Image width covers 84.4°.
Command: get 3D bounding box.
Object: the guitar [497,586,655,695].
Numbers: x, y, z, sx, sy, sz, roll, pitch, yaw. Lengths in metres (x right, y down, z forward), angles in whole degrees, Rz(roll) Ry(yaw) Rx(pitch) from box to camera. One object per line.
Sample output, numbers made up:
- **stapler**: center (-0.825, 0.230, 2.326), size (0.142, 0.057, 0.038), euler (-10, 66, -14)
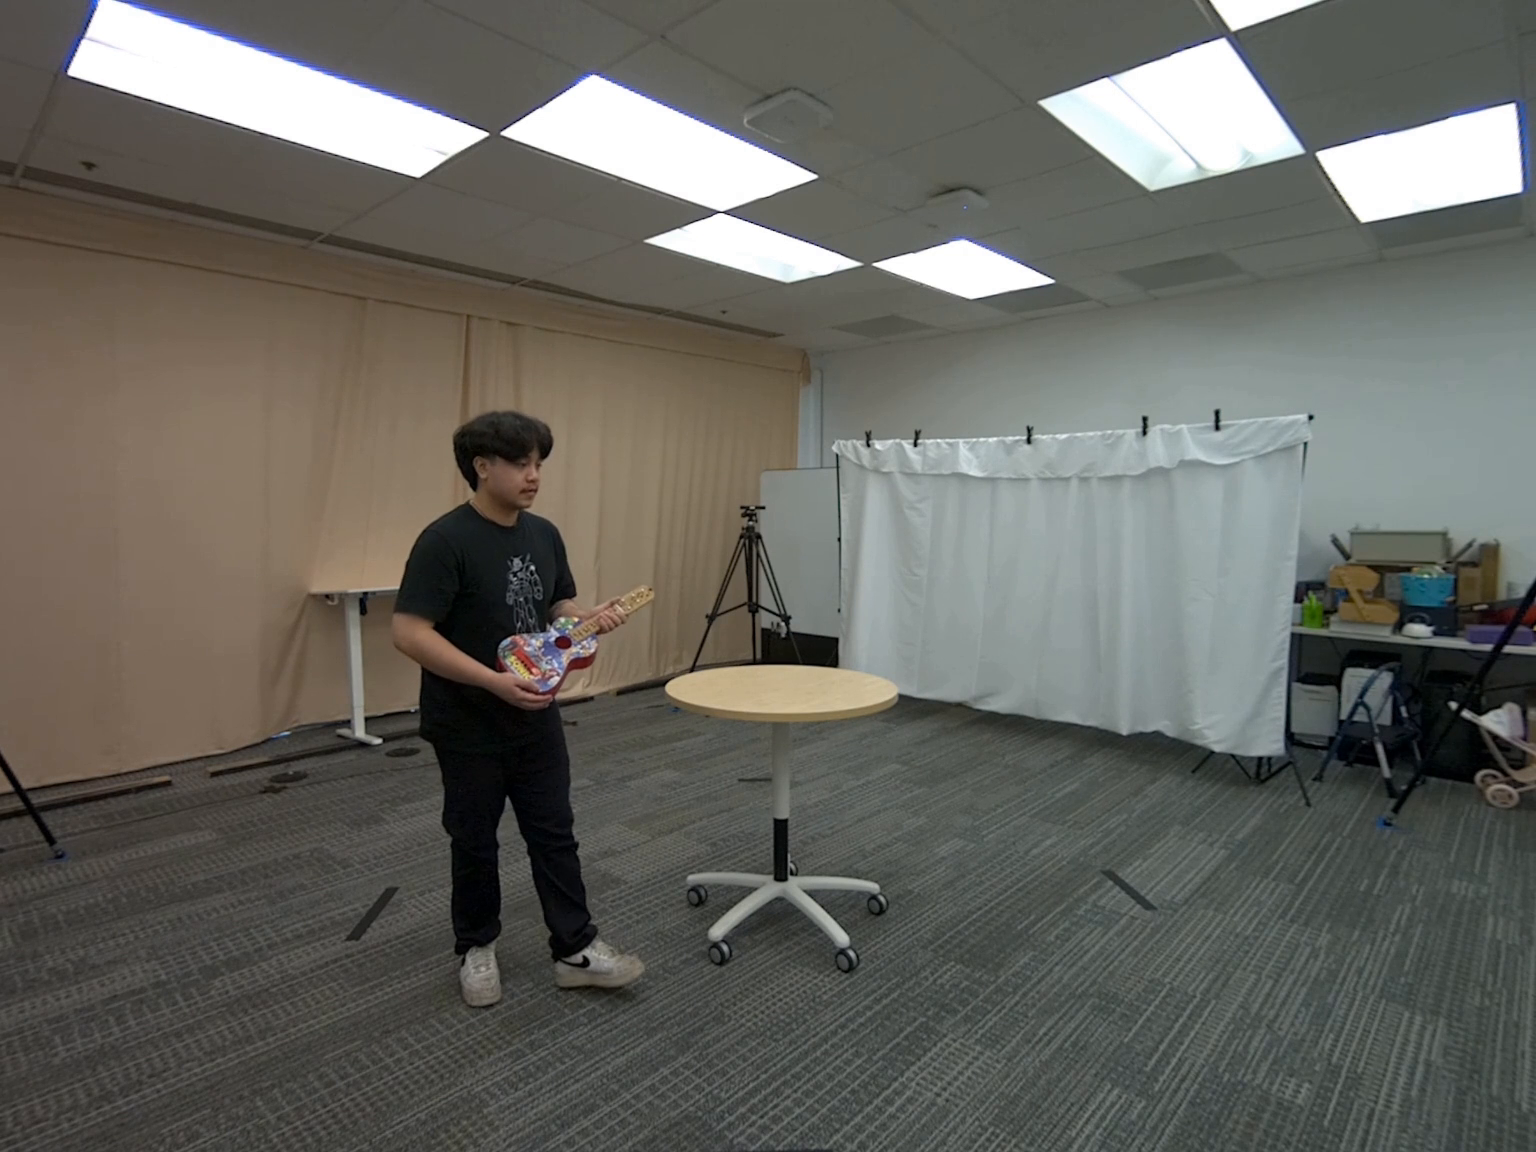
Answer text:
- **guitar**: center (-0.484, 0.189, 2.297), size (0.488, 0.070, 0.198), euler (-25, 61, -32)
